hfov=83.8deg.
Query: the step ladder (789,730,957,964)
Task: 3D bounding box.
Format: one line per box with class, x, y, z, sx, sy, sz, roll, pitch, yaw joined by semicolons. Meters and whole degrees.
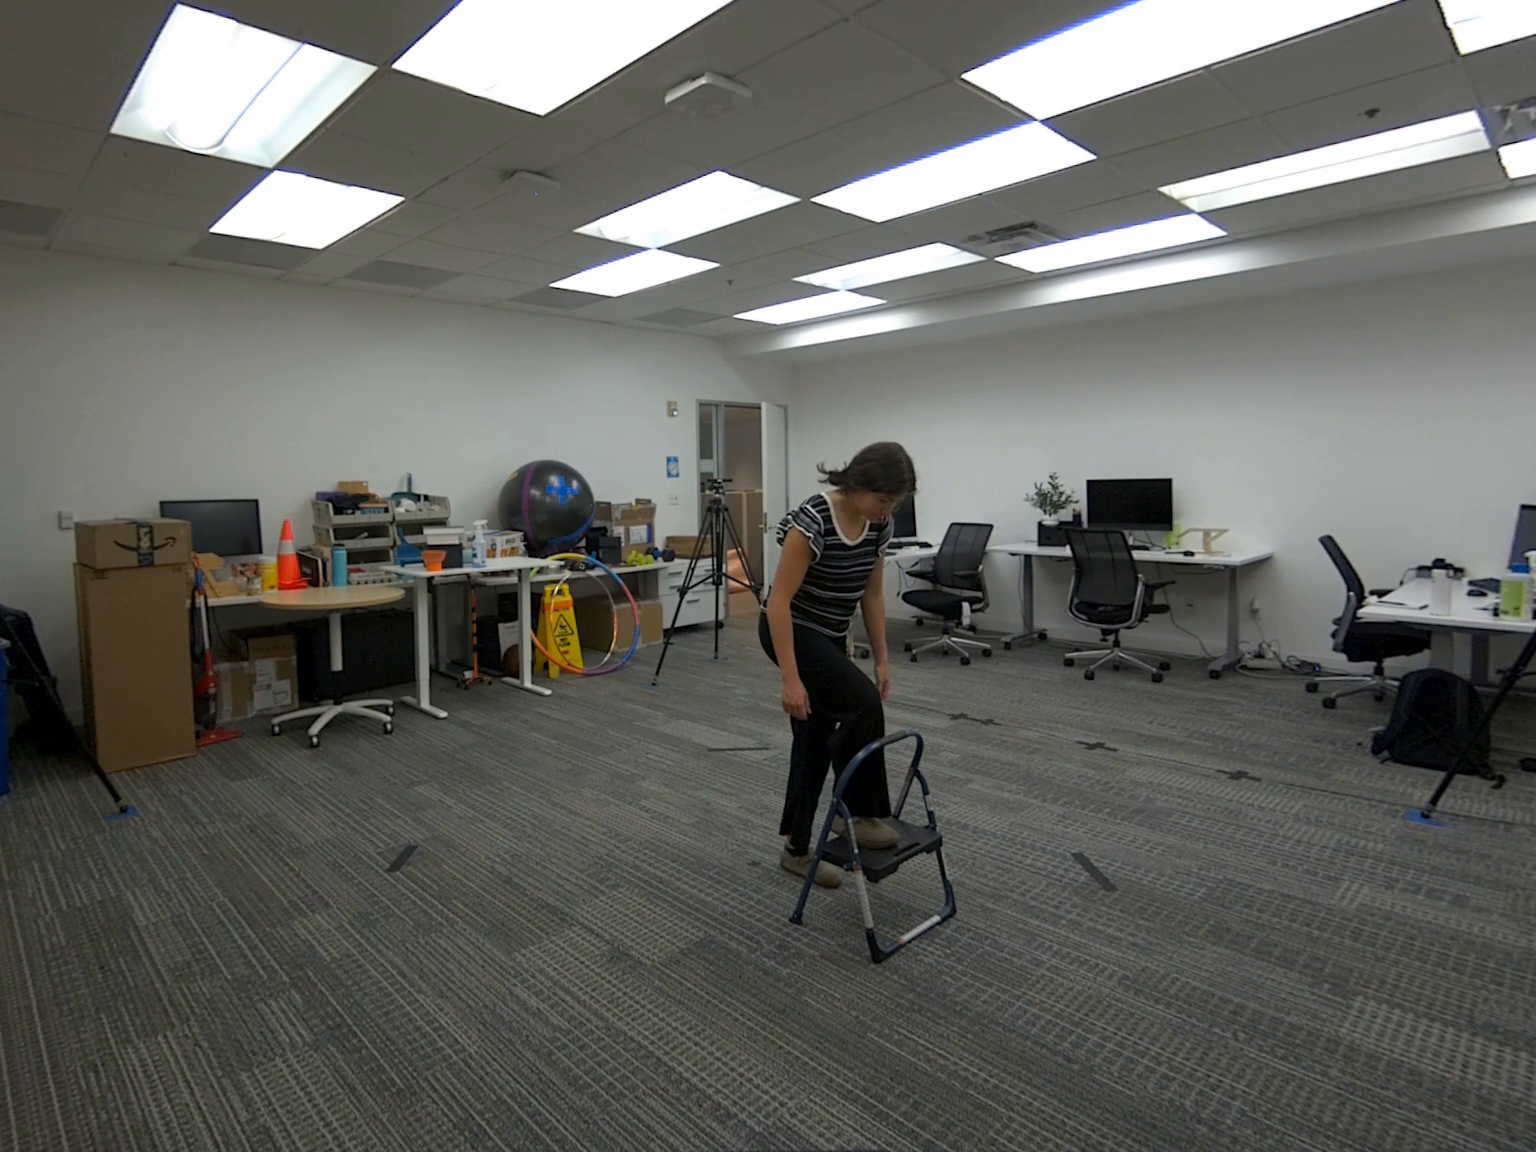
step ladder;0.335;0.786;2.690;0.360;0.604;0.419;3;6;45
